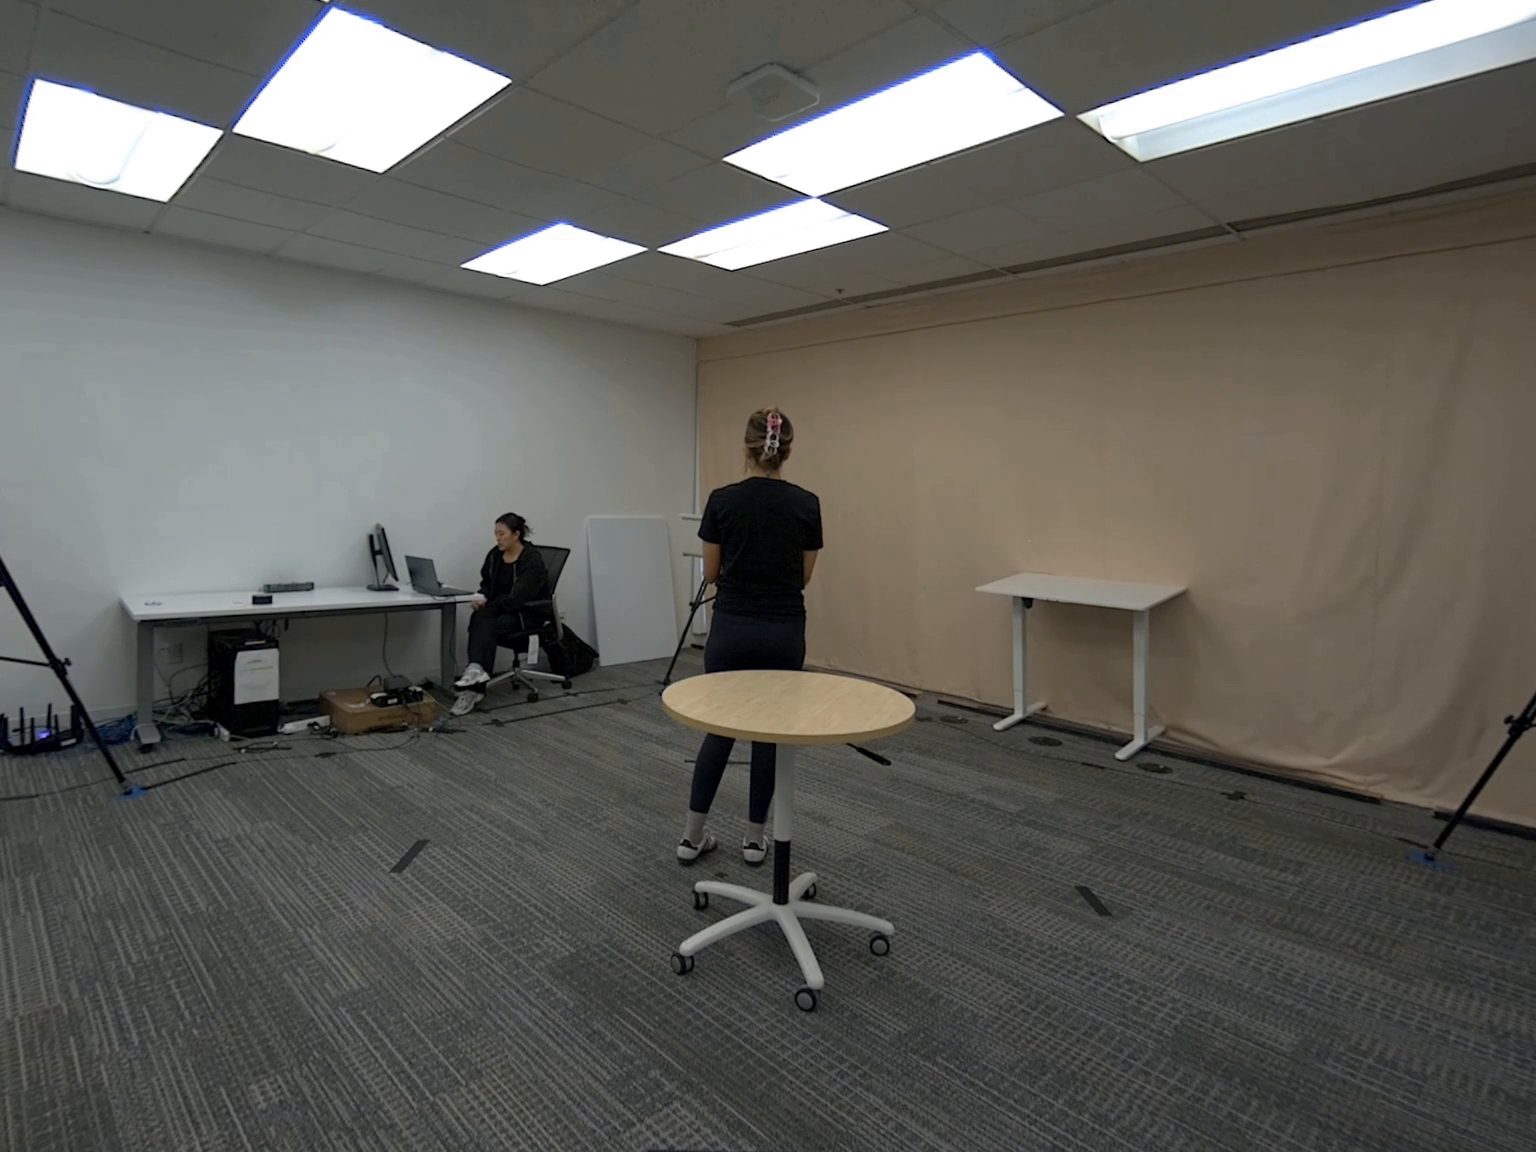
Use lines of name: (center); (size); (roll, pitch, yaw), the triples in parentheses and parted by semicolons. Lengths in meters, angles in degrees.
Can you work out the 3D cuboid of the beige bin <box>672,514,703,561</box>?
beige bin: (-0.113, -0.152, 3.588); (0.369, 0.188, 0.434); (-2, 8, -41)
